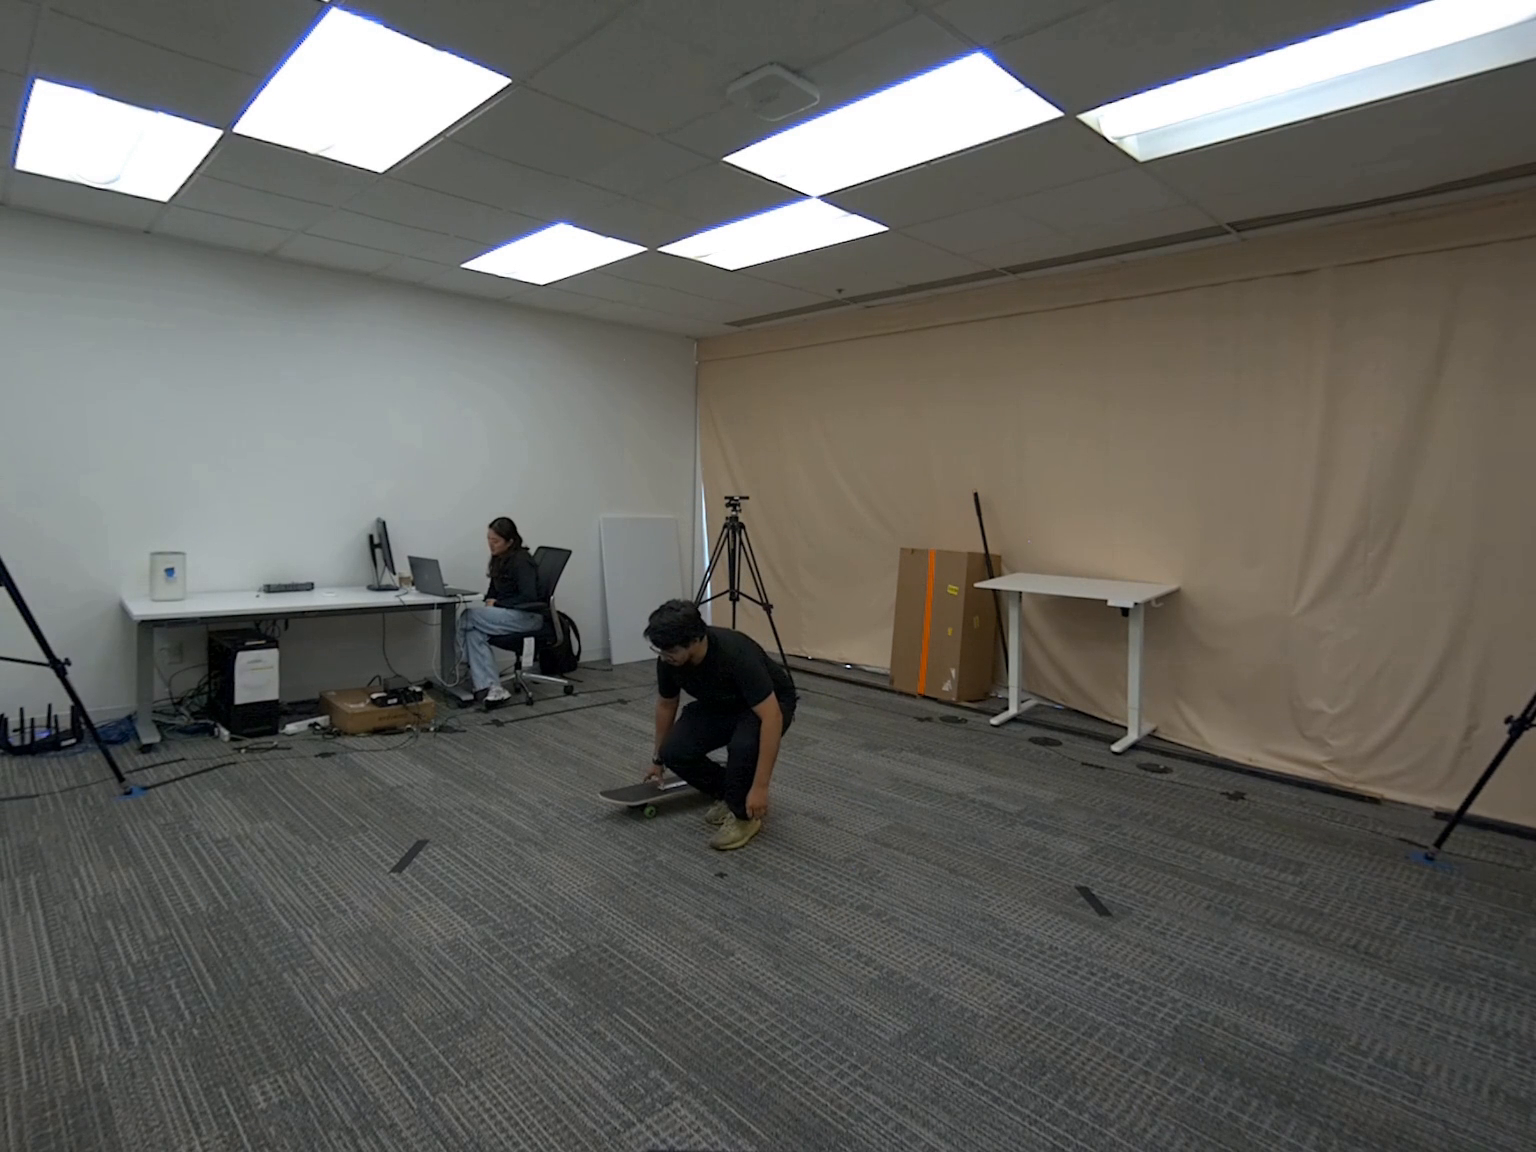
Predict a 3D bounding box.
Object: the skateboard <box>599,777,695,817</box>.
[{"bbox_3d":[-0.418,0.976,3.828,0.767,0.110,0.198,-2,5,-40],"label":"skateboard"}]
